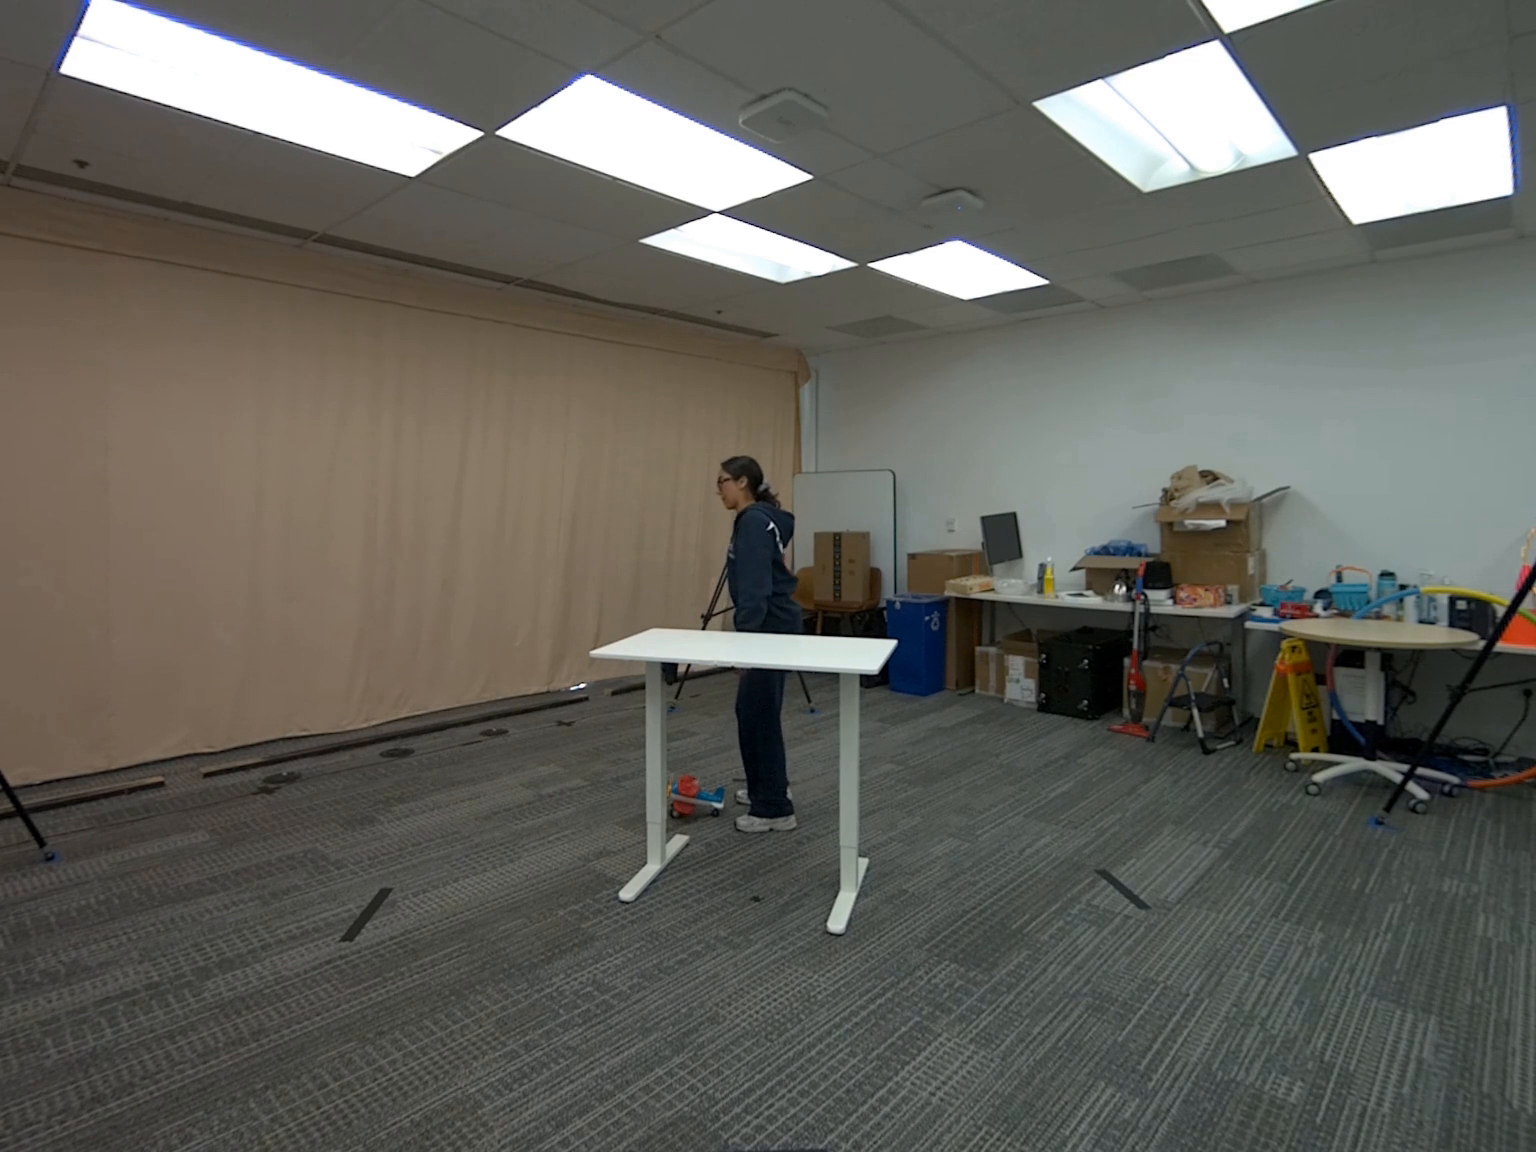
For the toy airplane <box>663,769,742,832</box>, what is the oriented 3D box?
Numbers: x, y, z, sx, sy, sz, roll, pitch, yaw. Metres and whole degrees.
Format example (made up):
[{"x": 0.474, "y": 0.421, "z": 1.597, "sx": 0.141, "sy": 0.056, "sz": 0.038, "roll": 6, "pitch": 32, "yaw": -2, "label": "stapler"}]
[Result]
[{"x": -0.300, "y": 1.007, "z": 3.826, "sx": 0.252, "sy": 0.156, "sz": 0.259, "roll": -4, "pitch": 6, "yaw": -32, "label": "toy airplane"}]
